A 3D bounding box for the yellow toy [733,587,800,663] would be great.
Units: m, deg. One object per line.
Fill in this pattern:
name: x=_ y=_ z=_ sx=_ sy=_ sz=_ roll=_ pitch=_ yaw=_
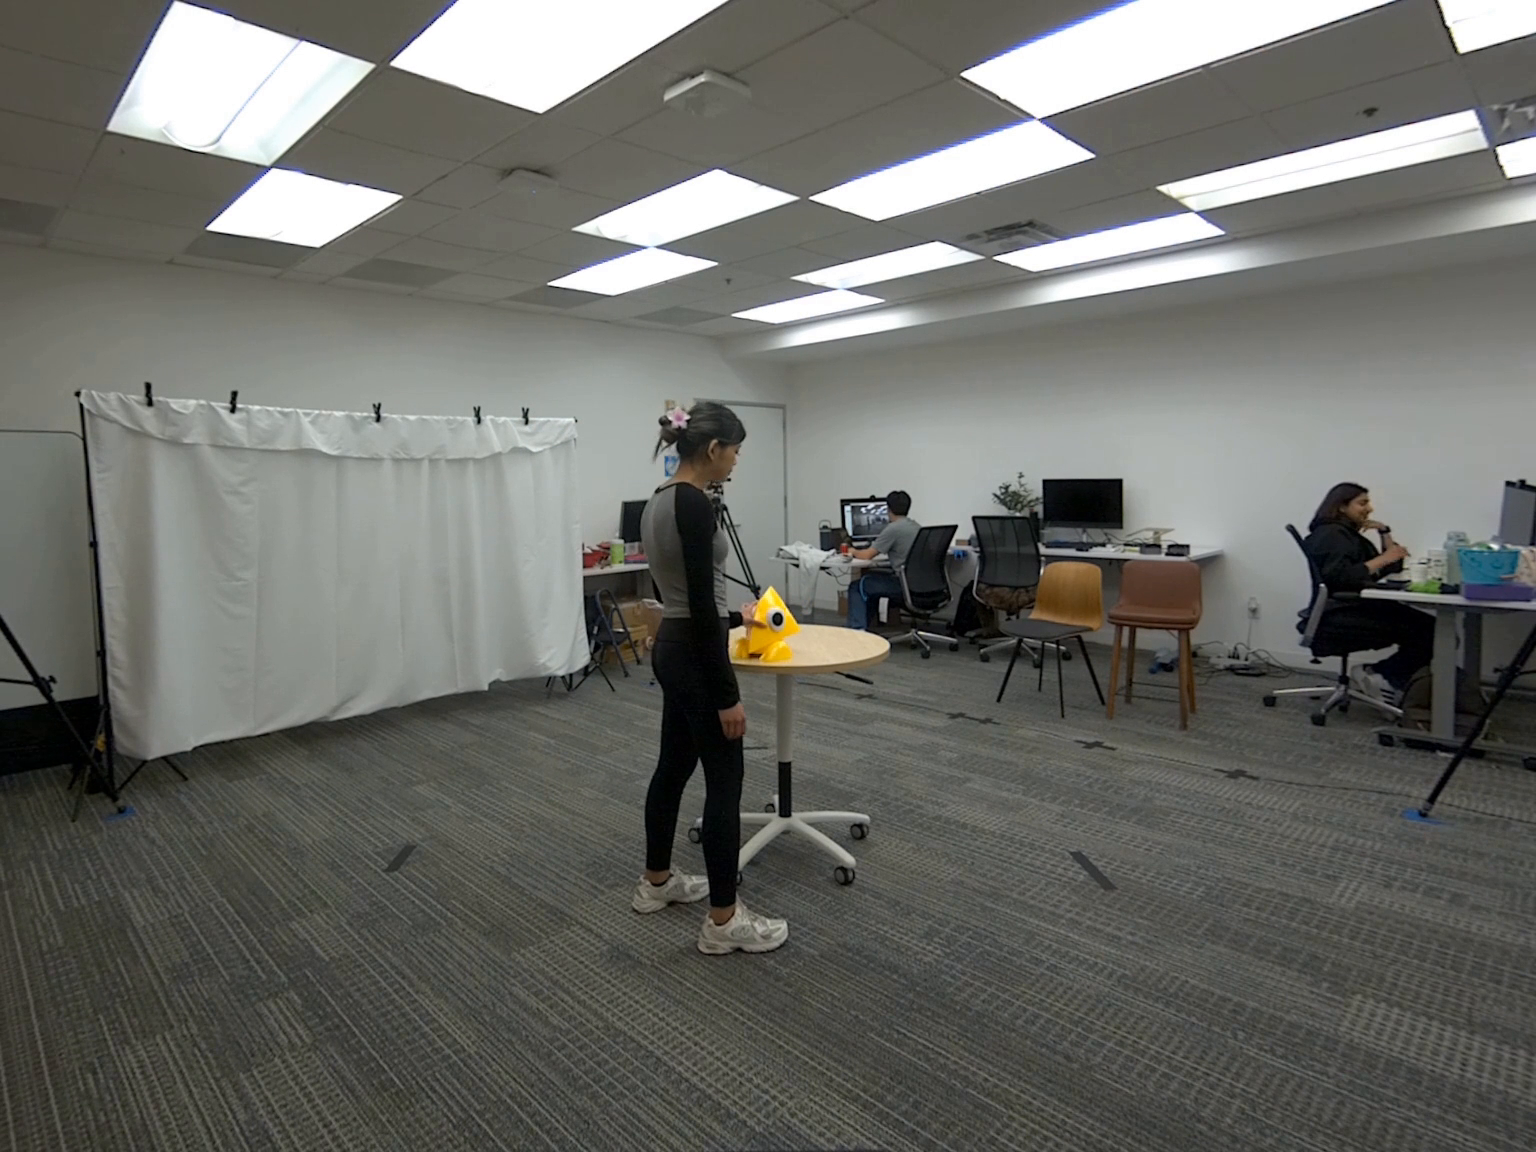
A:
yellow toy: x=-0.015 y=0.158 z=2.921 sx=0.210 sy=0.230 sz=0.189 roll=2 pitch=6 yaw=30
